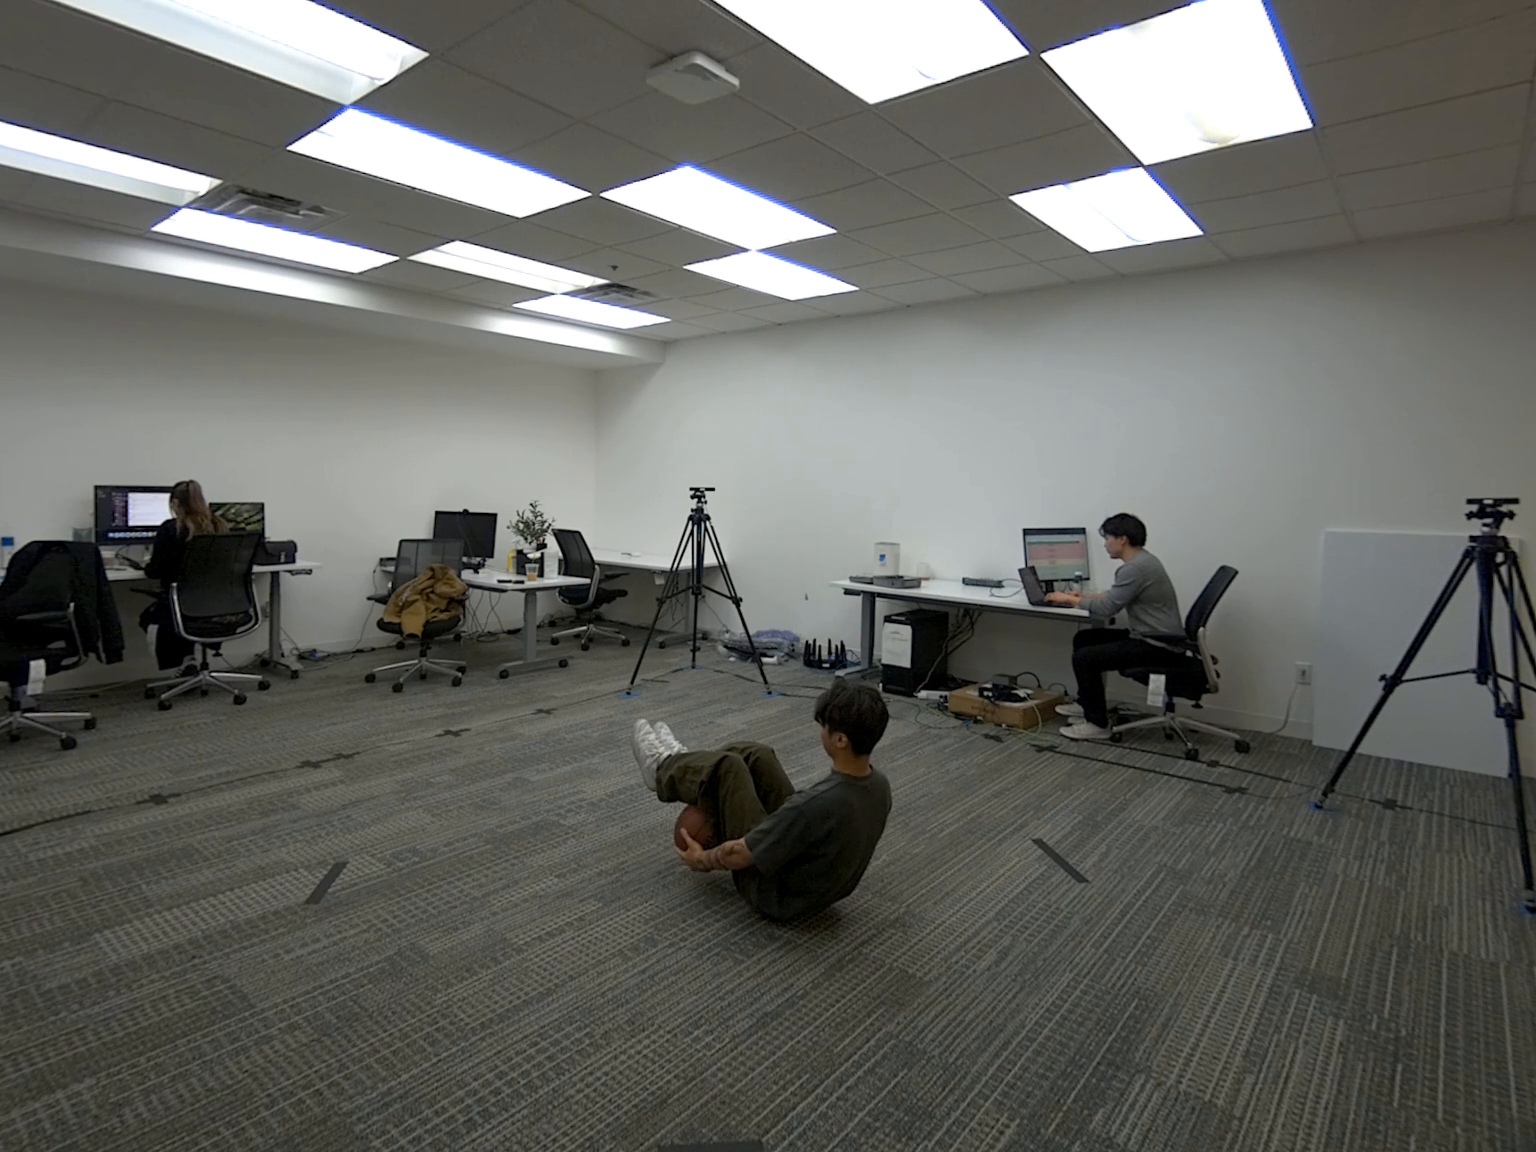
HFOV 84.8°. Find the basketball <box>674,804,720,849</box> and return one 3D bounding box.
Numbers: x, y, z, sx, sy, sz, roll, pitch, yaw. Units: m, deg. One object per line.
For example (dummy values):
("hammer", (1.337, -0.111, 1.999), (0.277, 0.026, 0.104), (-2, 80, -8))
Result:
("basketball", (-0.218, 0.901, 3.018), (0.235, 0.235, 0.237), (1, 4, -2))
